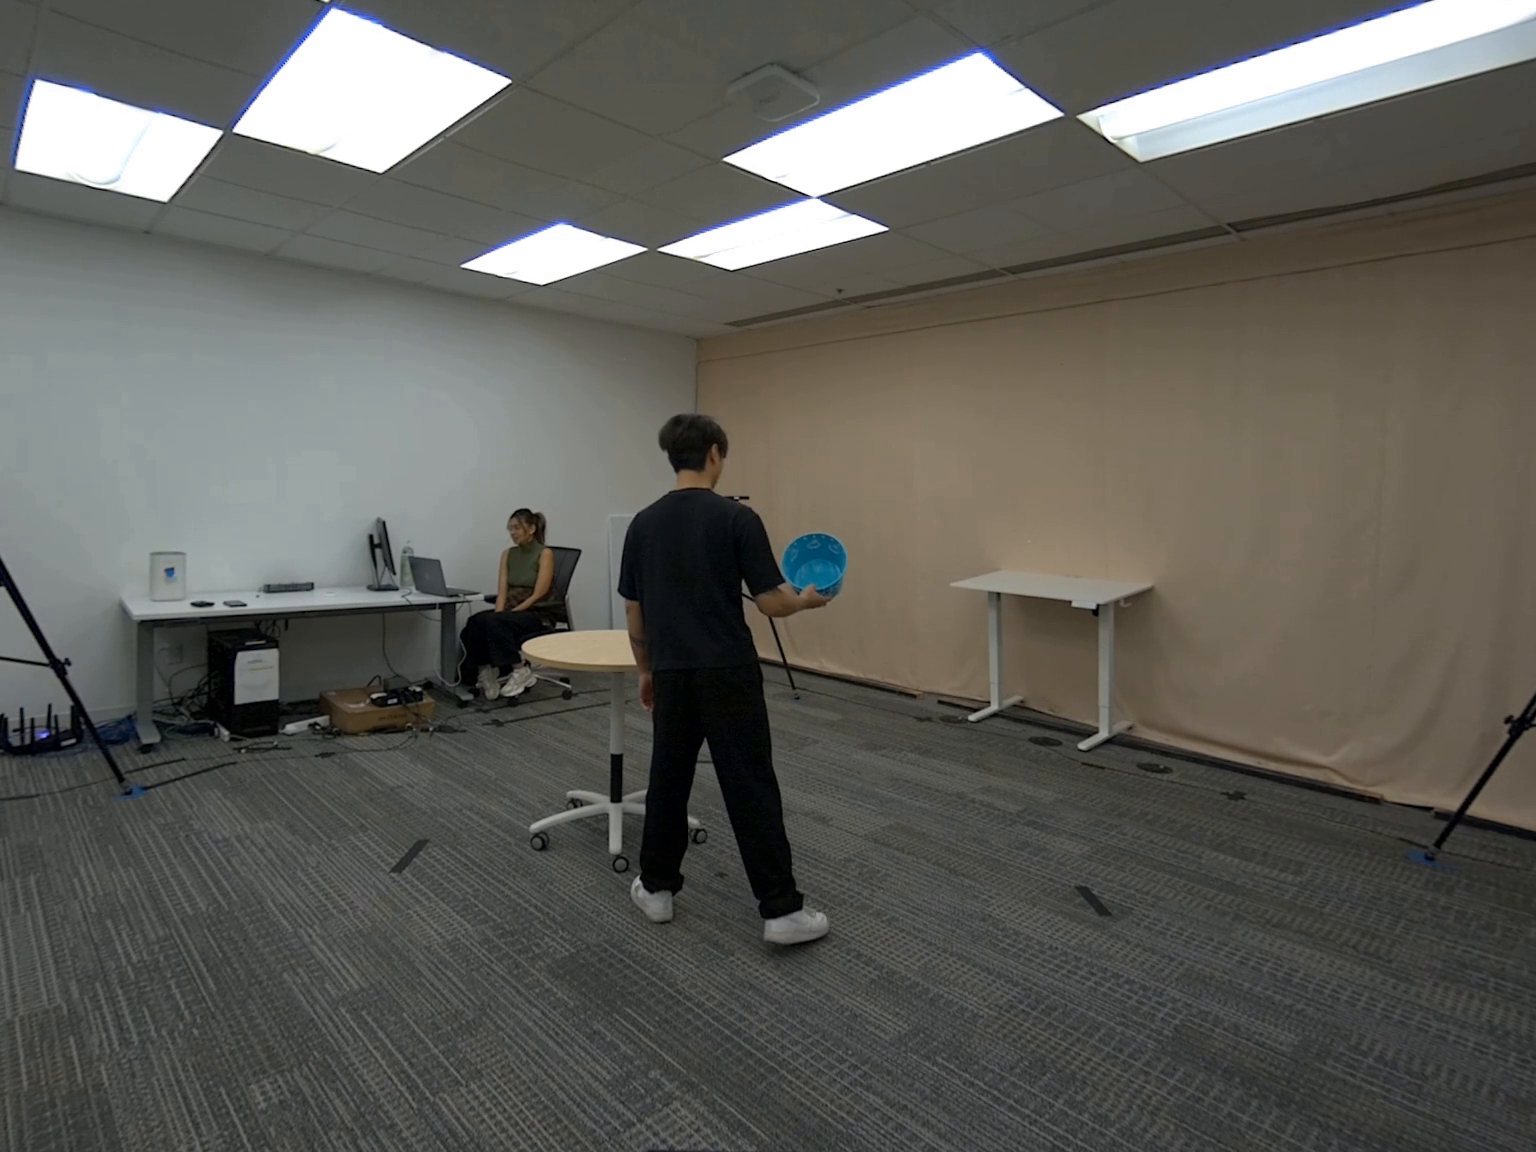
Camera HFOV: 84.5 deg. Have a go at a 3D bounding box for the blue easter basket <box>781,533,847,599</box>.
[{"bbox_3d":[0.162,-0.018,3.016,0.246,0.247,0.152,2,-29,11],"label":"blue easter basket"}]
